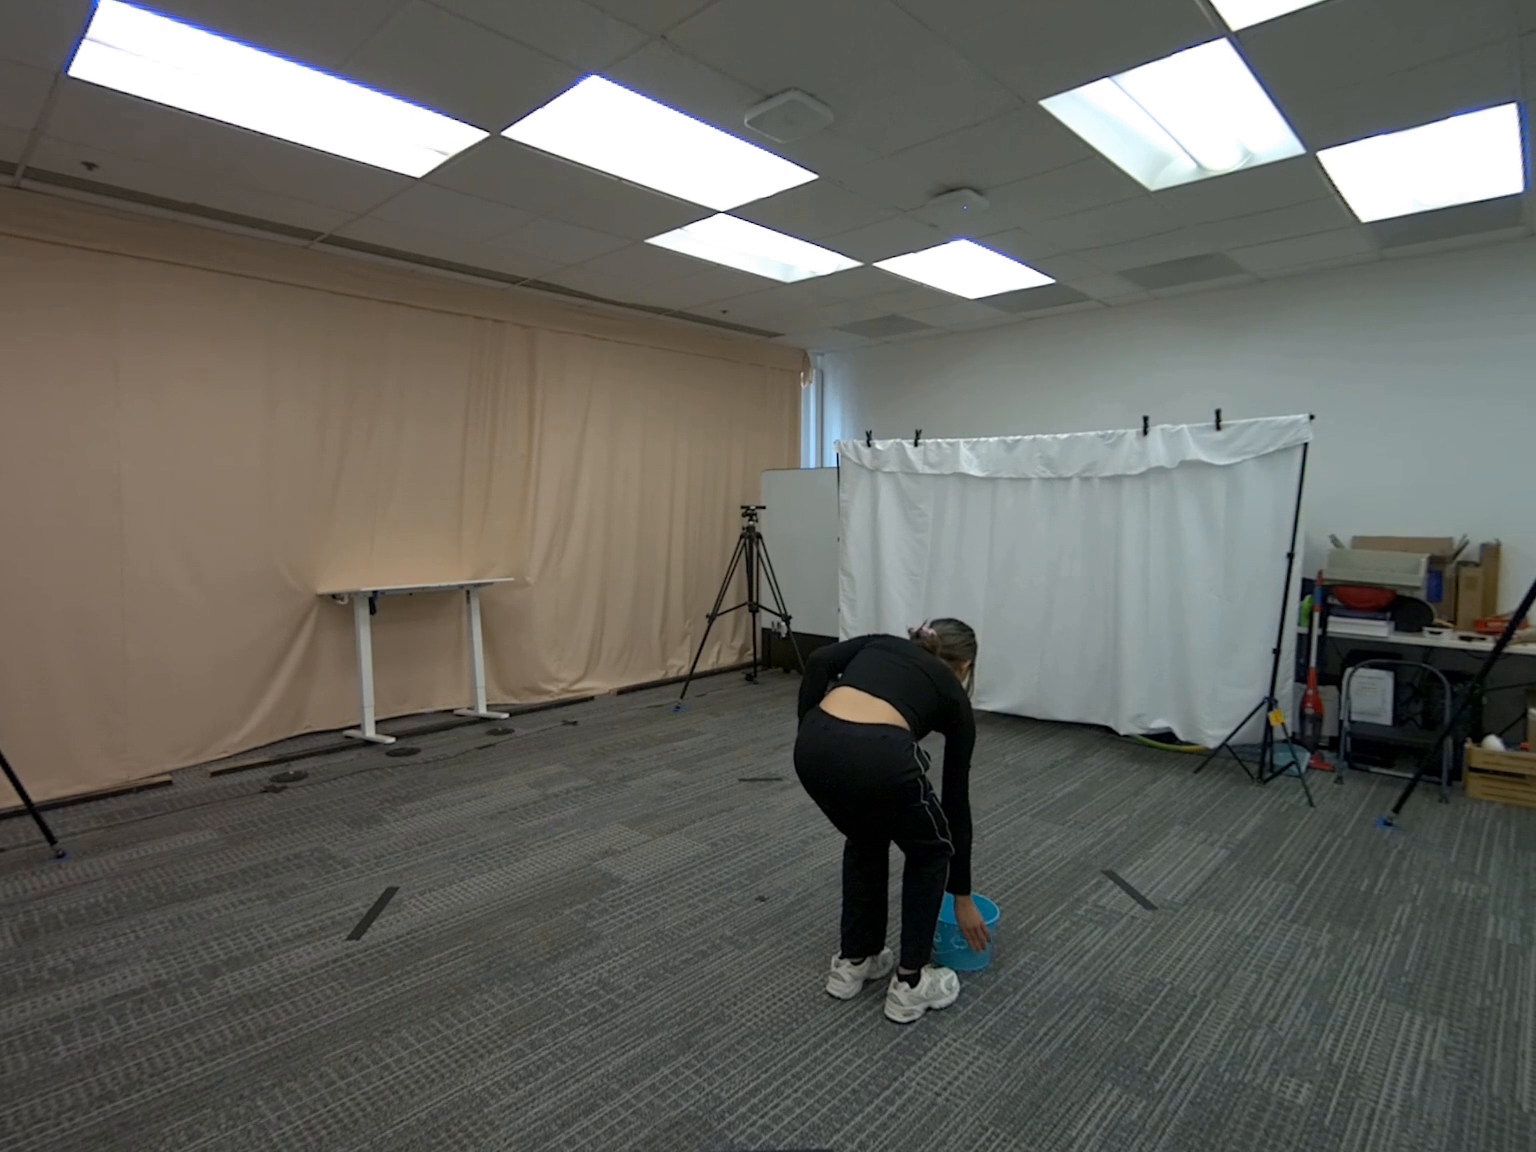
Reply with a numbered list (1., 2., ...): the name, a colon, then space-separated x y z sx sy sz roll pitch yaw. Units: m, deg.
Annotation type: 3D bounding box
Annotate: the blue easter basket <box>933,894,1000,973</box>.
1. blue easter basket: 0.592 1.095 2.597 0.243 0.155 0.244 -1 4 -2
